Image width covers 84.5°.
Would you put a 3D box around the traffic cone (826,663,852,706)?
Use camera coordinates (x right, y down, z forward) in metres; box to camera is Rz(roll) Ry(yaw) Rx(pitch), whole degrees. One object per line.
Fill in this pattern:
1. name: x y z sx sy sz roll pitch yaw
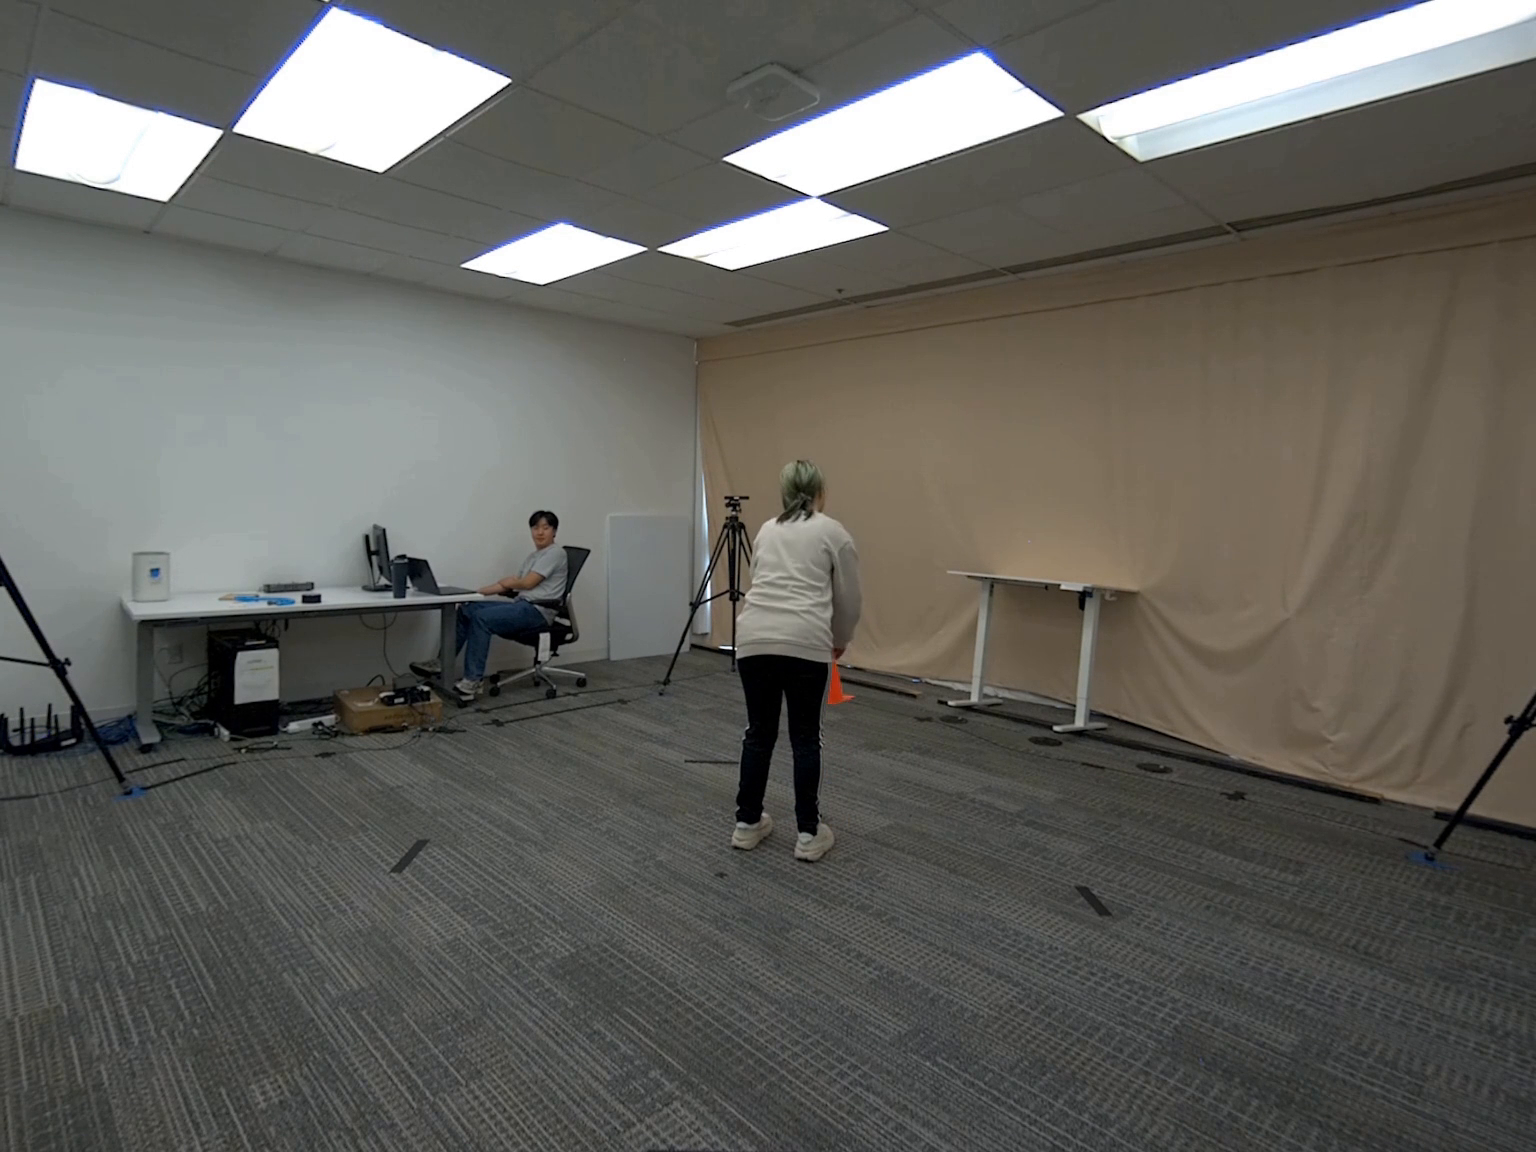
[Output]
1. traffic cone: 0.237 0.359 3.717 0.210 0.383 0.199 1 5 39
